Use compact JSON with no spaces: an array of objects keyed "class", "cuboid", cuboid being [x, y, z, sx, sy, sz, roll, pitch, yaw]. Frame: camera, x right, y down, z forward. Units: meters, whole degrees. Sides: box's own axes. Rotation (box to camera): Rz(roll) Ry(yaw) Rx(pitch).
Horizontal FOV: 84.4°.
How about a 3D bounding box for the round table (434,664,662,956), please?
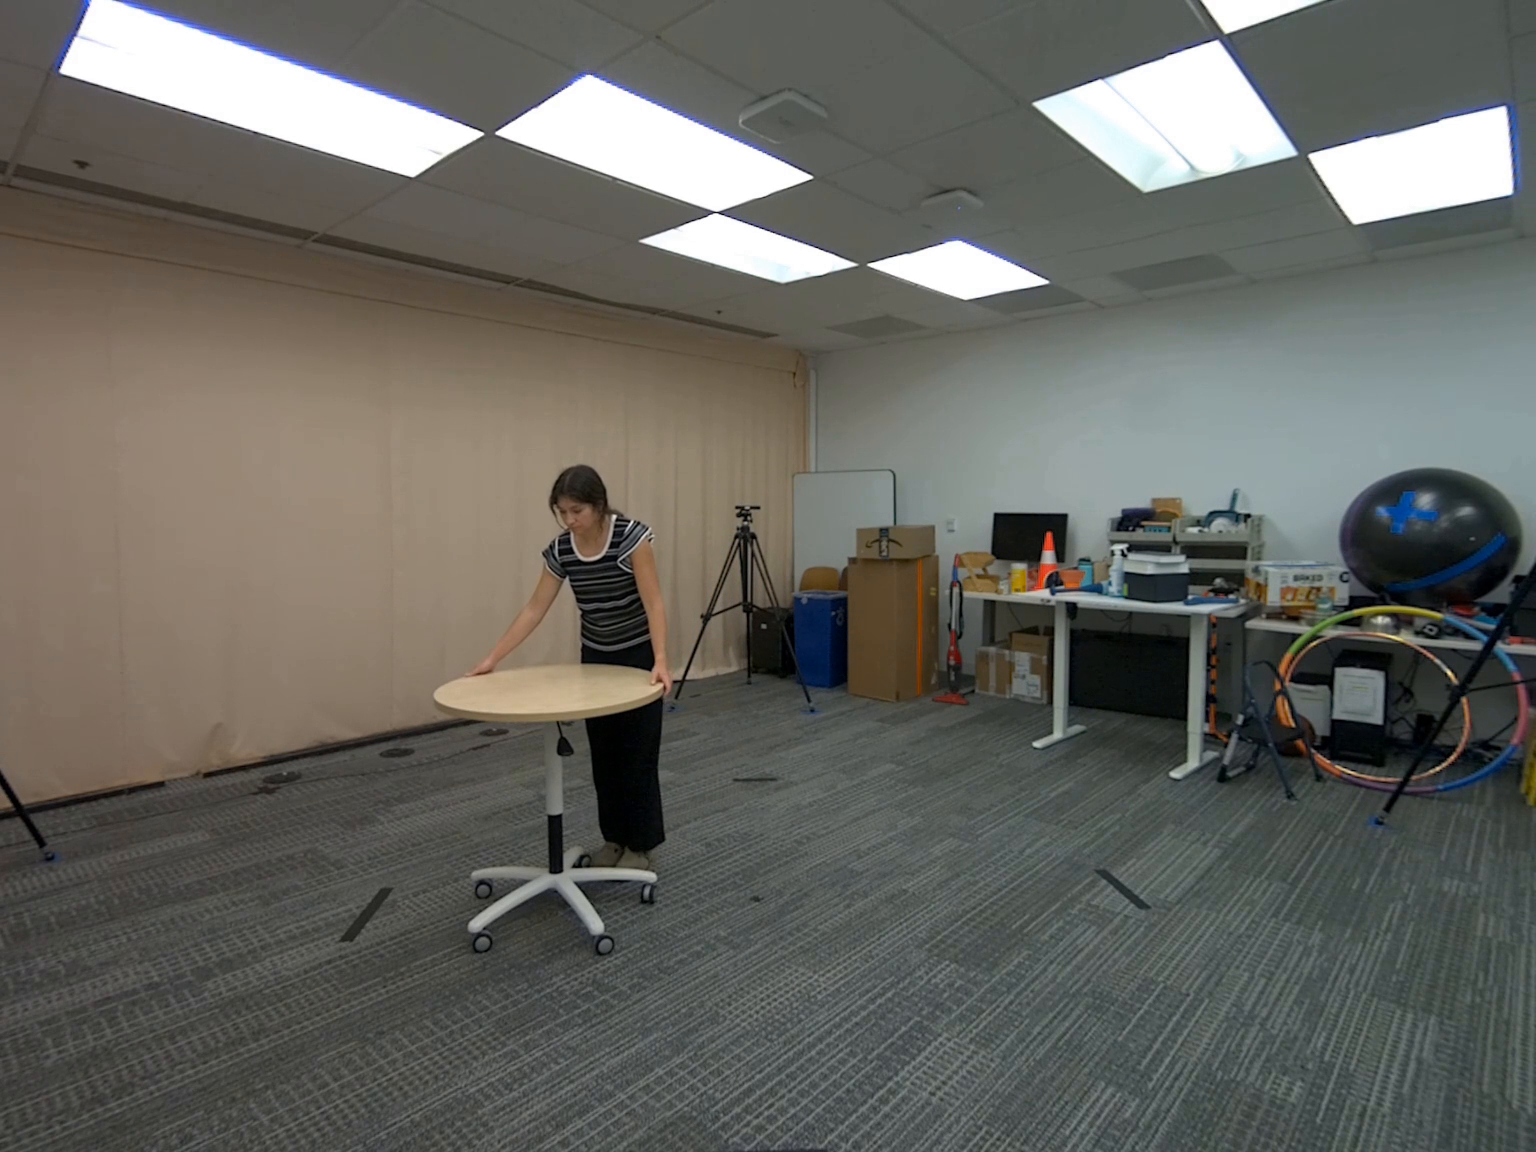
[{"class":"round table","cuboid":[-0.728,0.767,2.875,0.763,0.792,0.766,-1,3,-2]}]
